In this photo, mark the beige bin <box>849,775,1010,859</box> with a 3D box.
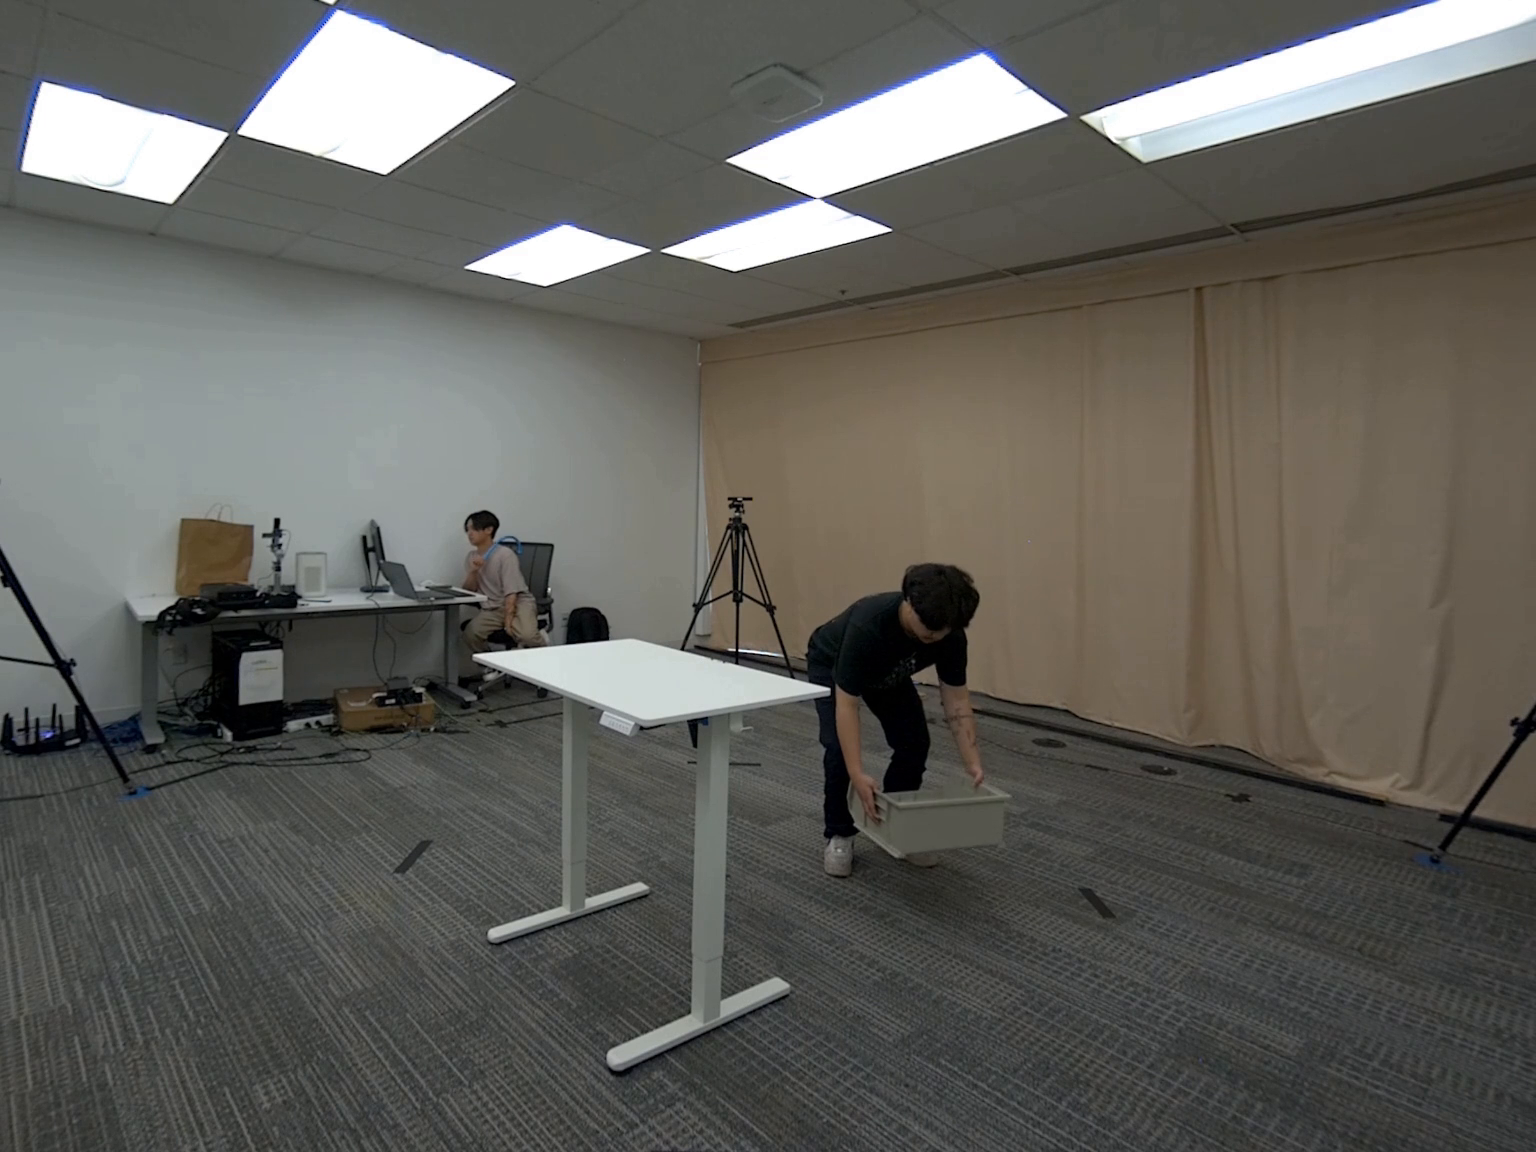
[{"bbox_3d":[0.545,0.810,2.931,0.416,0.188,0.383,0,4,-19],"label":"beige bin"}]
